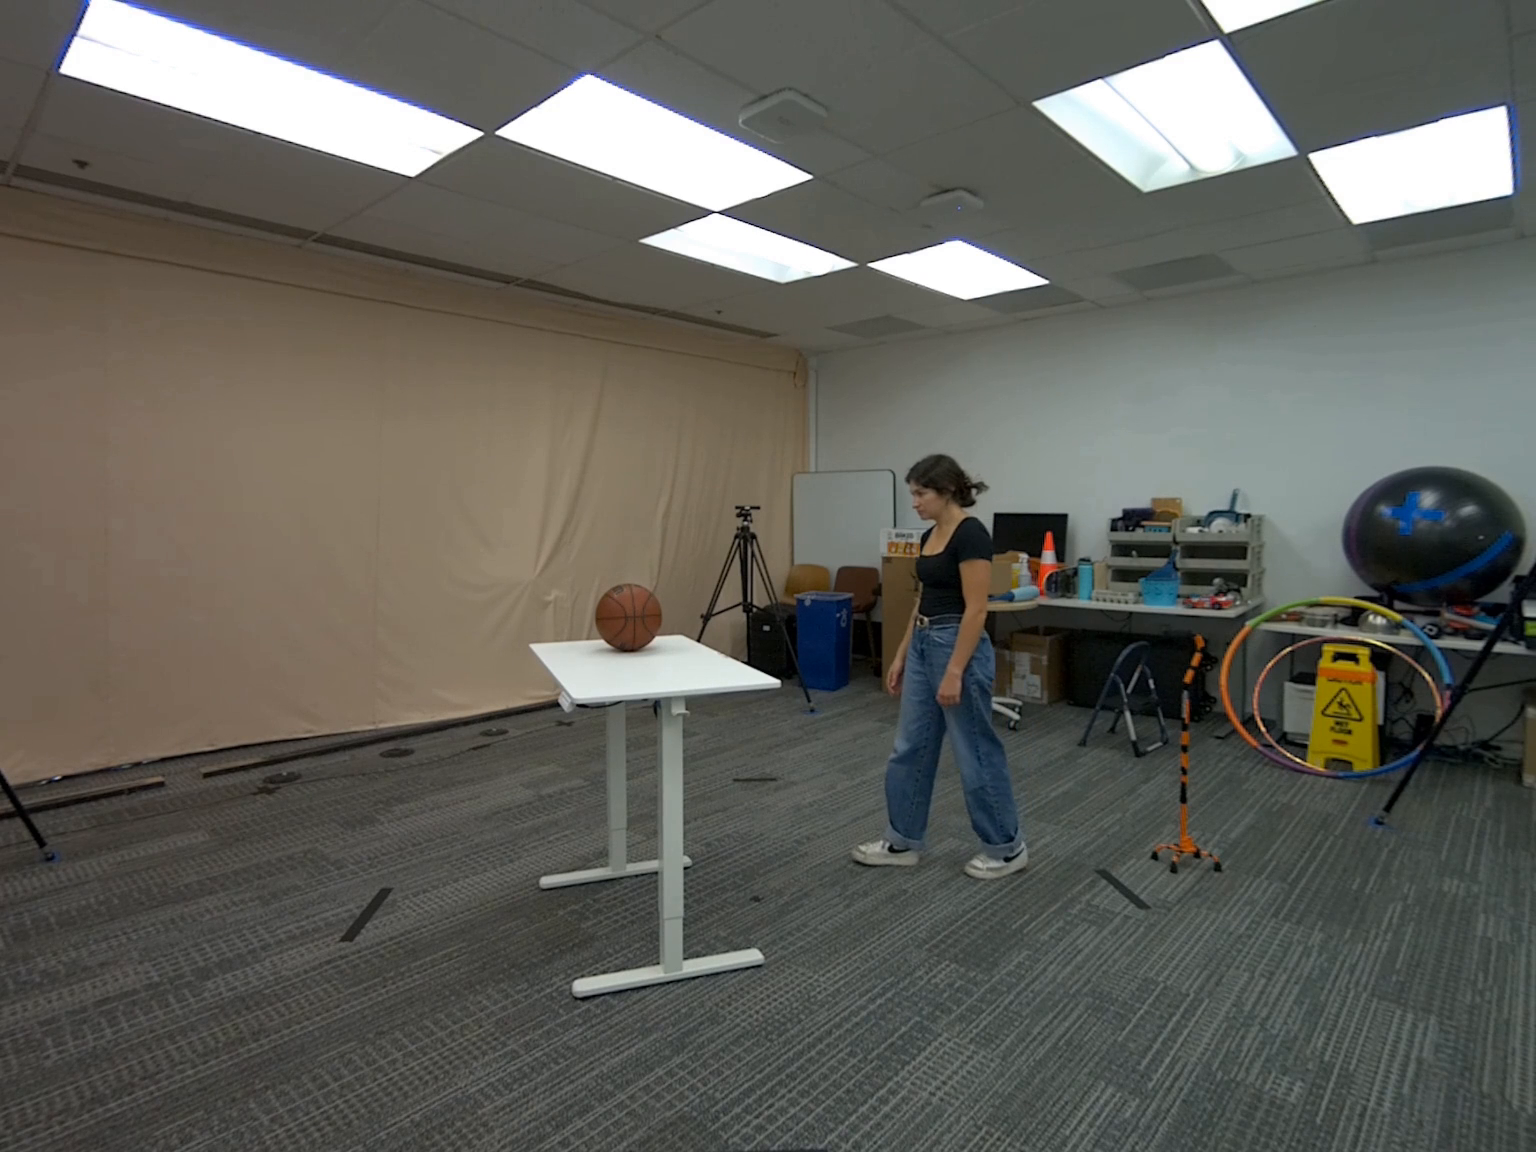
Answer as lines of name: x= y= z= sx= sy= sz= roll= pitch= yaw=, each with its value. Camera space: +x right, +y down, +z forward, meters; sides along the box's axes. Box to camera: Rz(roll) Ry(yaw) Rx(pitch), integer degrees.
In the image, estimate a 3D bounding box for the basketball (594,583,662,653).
basketball: x=-0.490 y=0.147 z=3.005 sx=0.236 sy=0.235 sz=0.237 roll=0 pitch=4 yaw=-2
